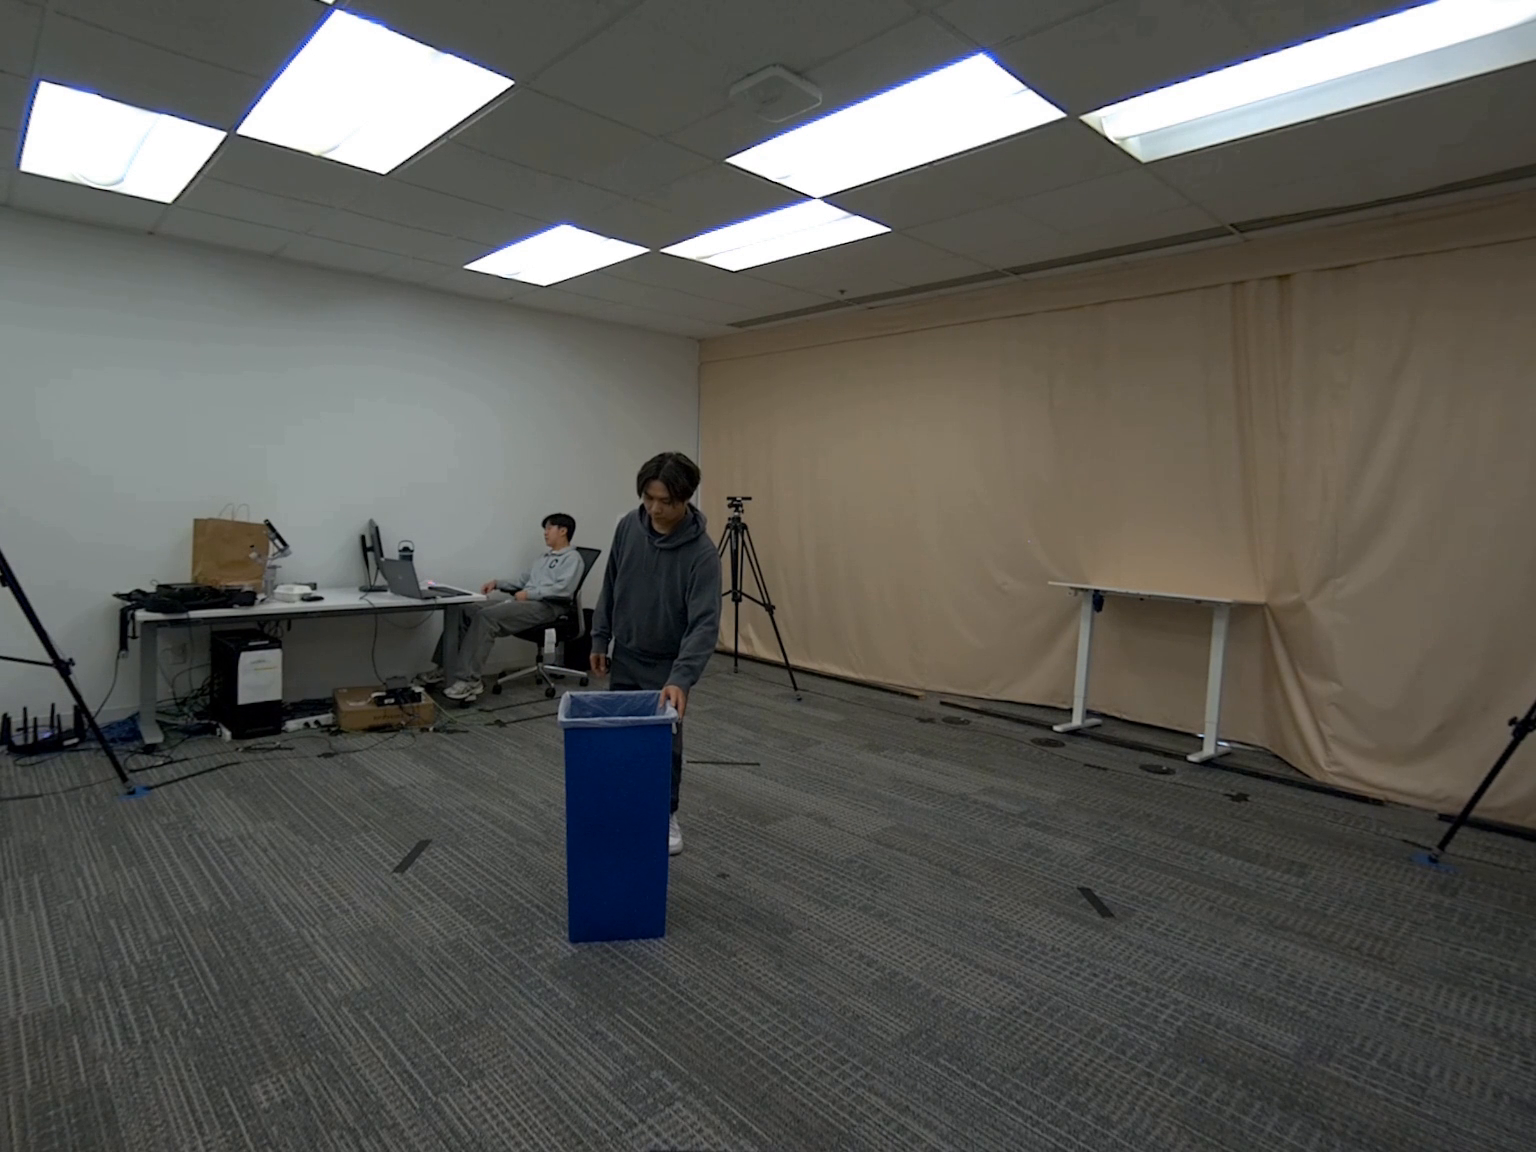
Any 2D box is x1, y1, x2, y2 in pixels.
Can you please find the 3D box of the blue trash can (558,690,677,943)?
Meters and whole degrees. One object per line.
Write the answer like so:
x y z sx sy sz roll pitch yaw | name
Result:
-0.508 0.780 2.753 0.371 0.711 0.382 1 4 -9 | blue trash can
